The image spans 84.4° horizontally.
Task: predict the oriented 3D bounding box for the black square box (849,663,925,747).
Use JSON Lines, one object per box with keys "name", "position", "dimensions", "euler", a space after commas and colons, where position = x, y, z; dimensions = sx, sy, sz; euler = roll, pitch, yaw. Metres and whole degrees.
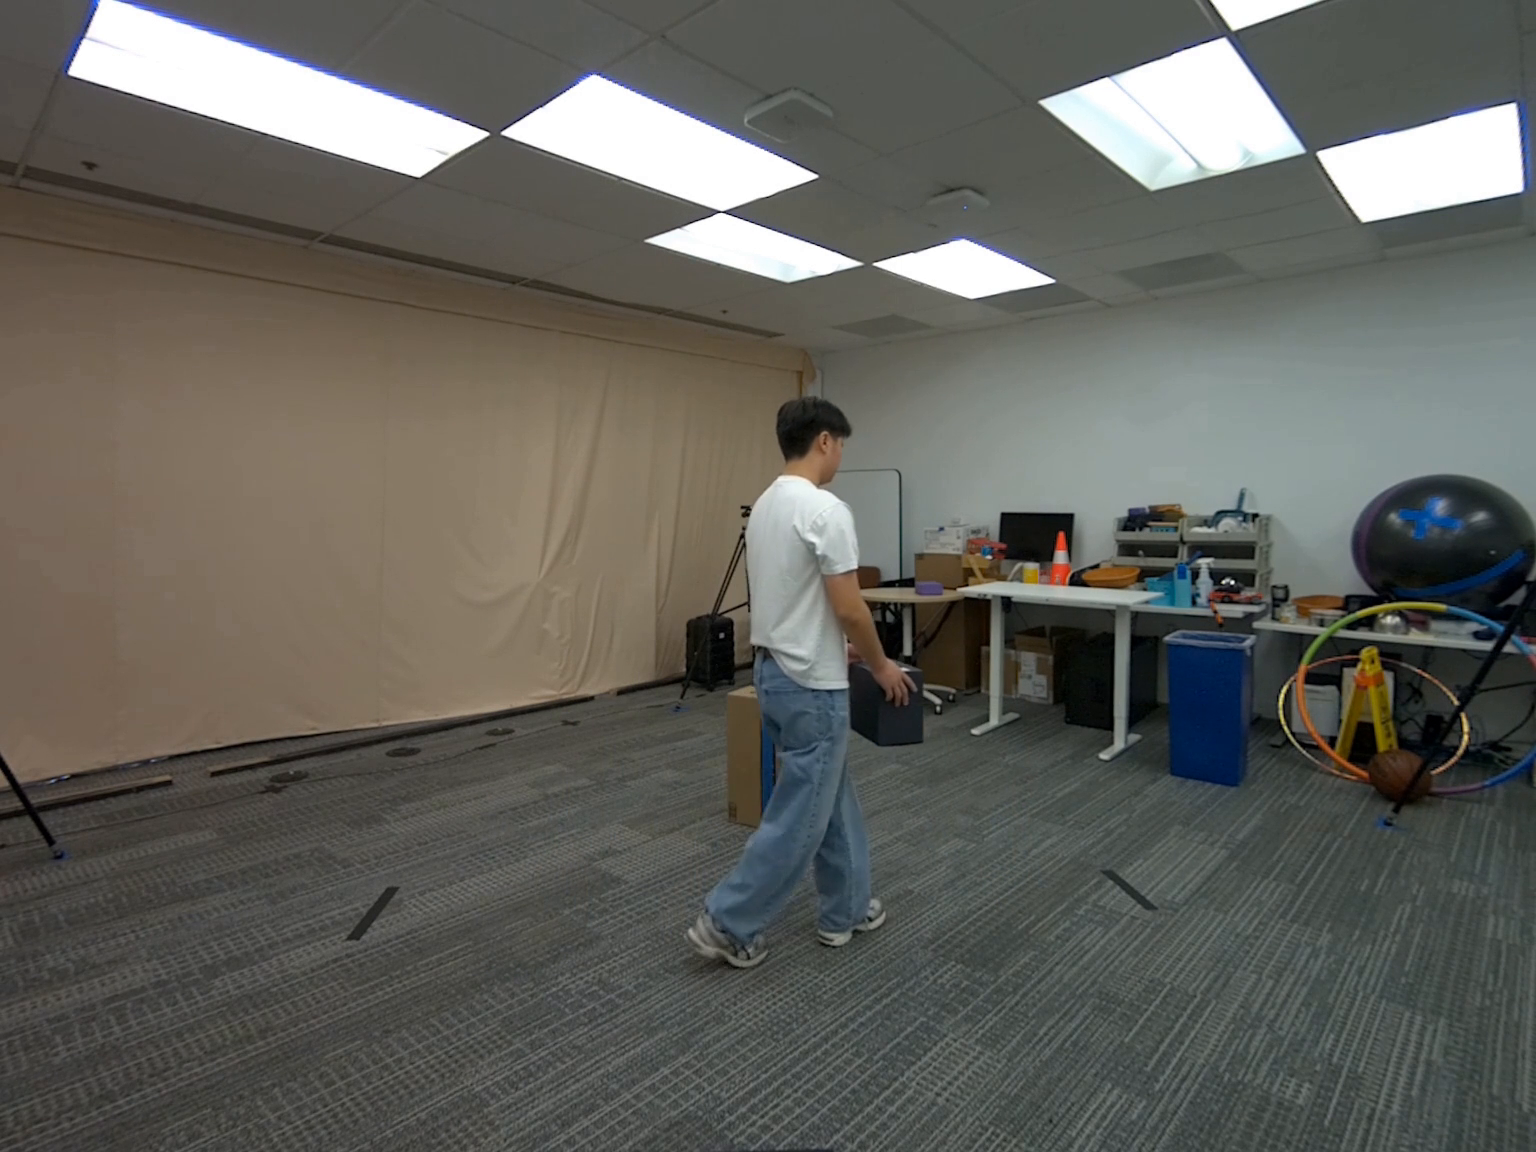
{"name": "black square box", "position": [0.386, 0.400, 2.707], "dimensions": [0.153, 0.227, 0.221], "euler": [0, 4, -19]}
